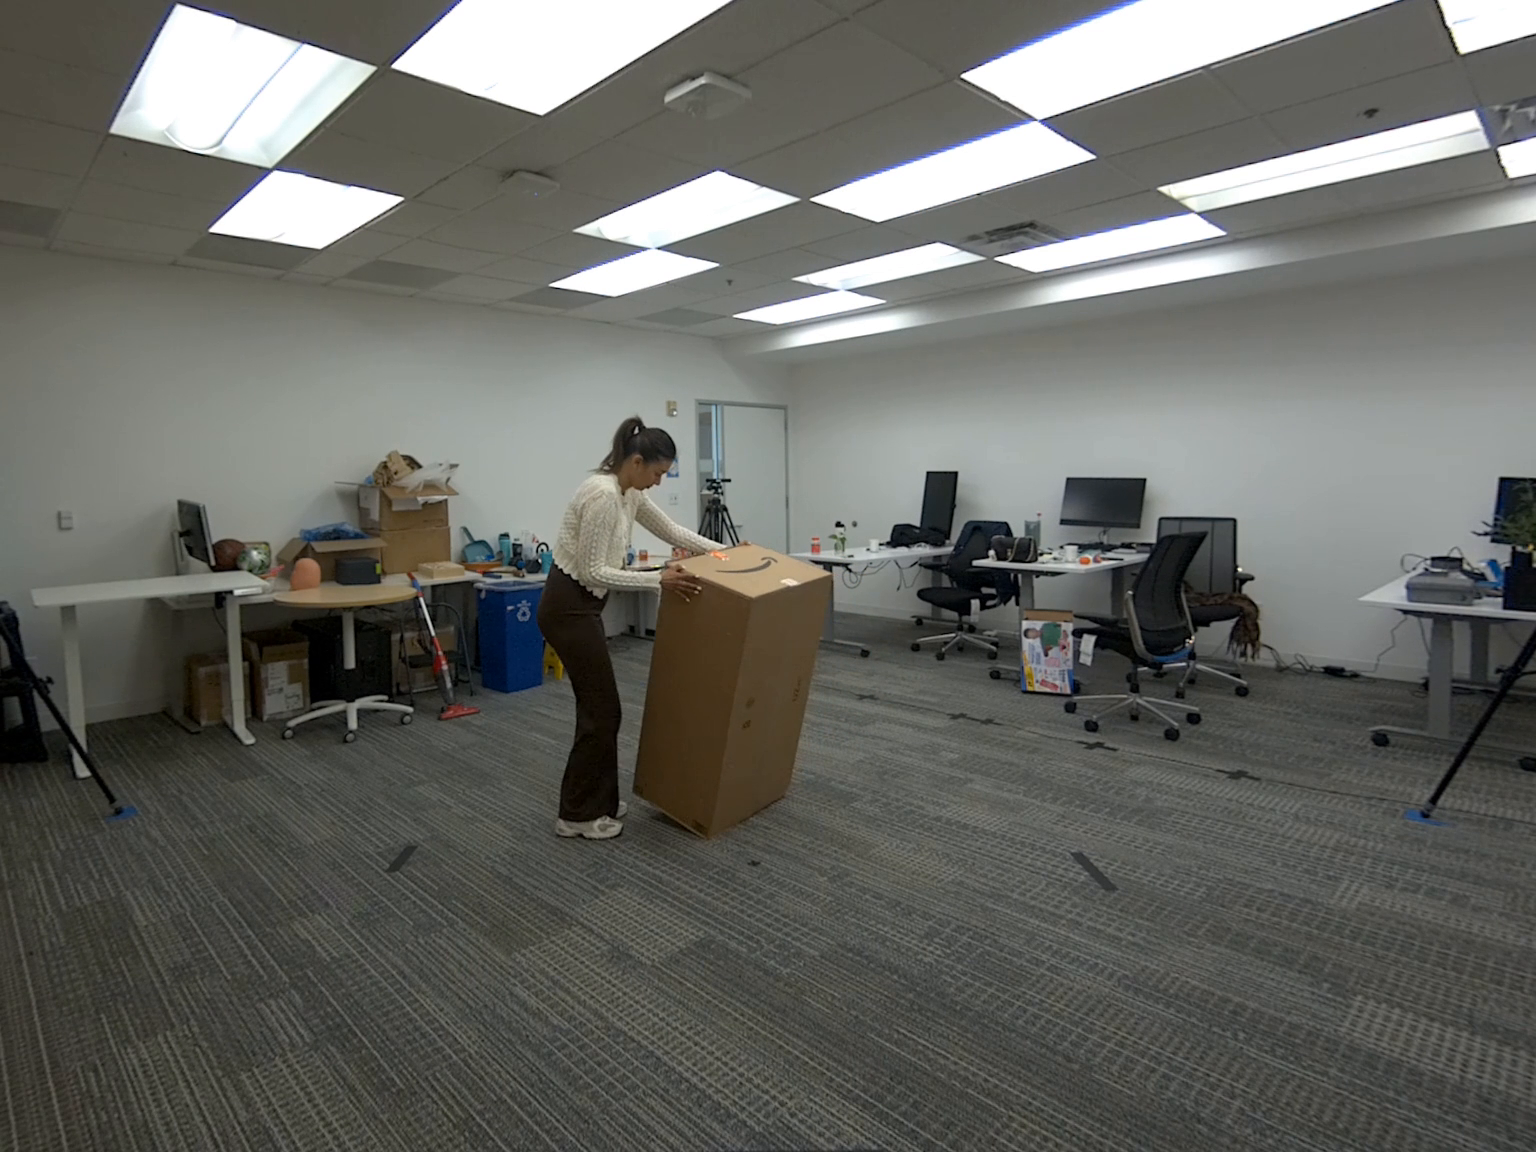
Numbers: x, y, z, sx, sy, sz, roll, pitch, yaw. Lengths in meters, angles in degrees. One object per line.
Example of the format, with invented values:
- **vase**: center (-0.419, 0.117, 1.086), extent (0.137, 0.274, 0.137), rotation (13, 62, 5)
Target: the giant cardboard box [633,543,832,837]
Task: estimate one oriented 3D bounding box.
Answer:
- **giant cardboard box**: center (-0.145, 0.450, 3.520), extent (0.441, 1.014, 0.565), rotation (21, 19, 32)
